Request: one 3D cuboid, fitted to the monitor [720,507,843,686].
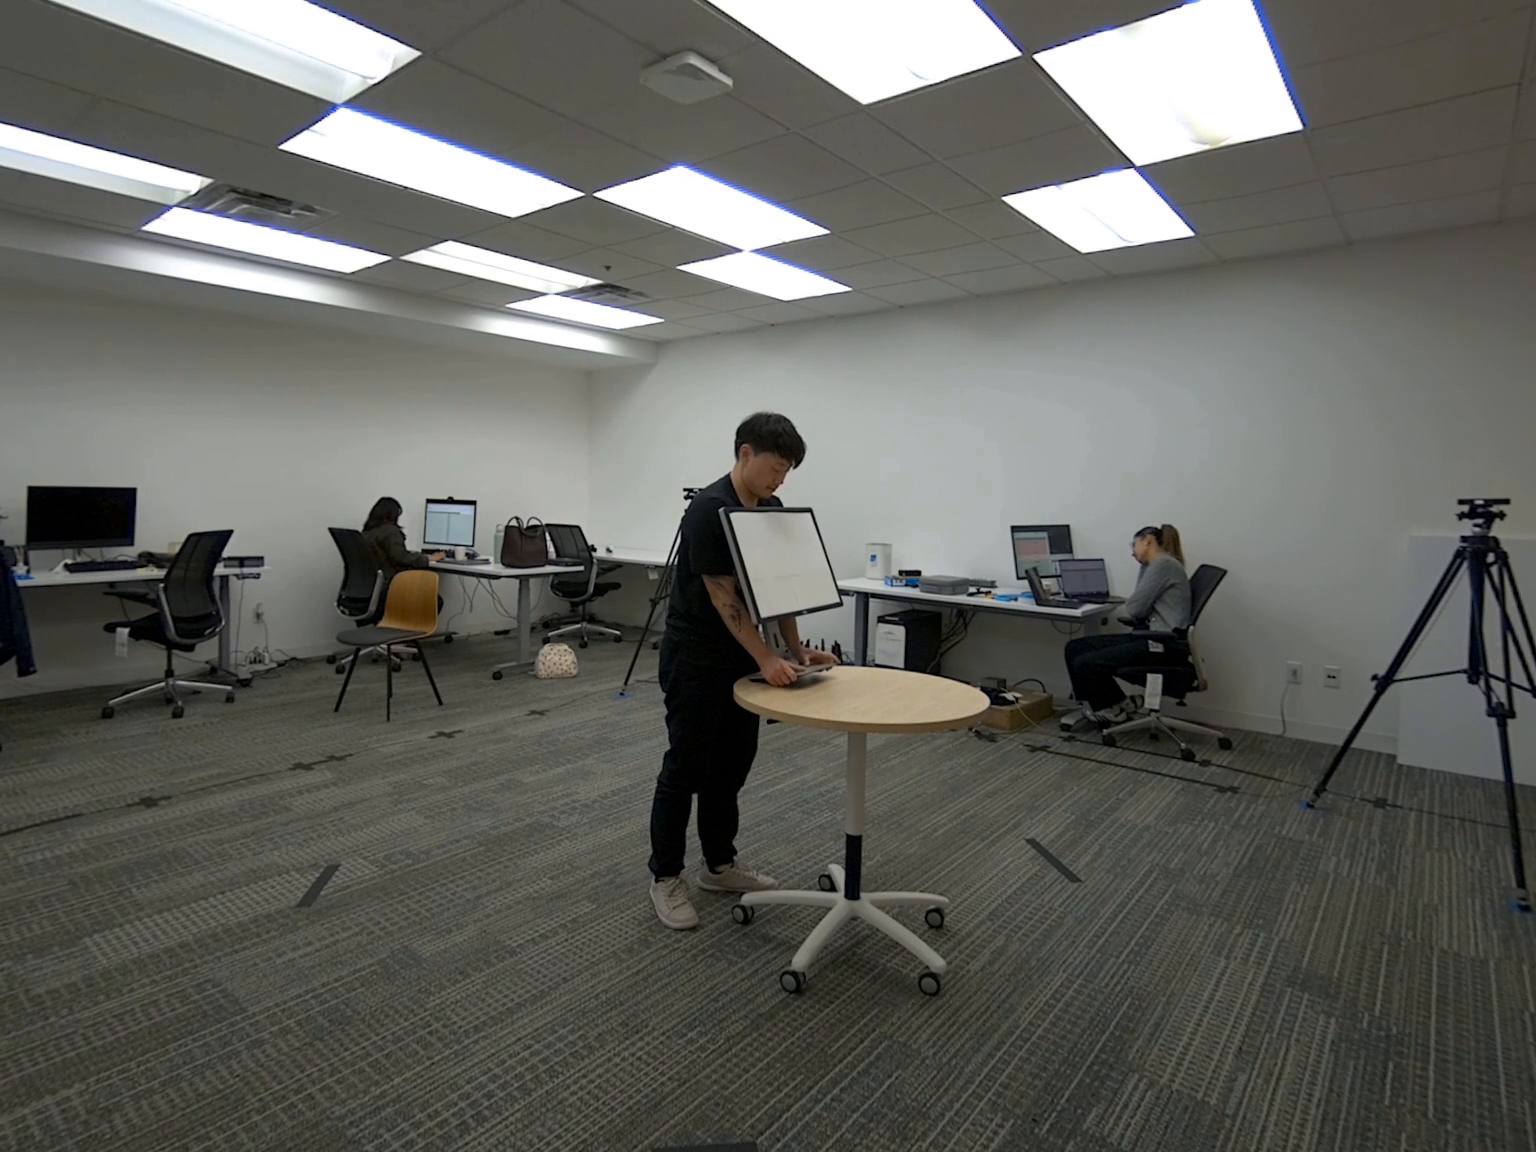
[{"bbox_3d":[0.043,0.042,2.746,0.191,0.524,0.525,-10,-3,30],"label":"monitor"}]
